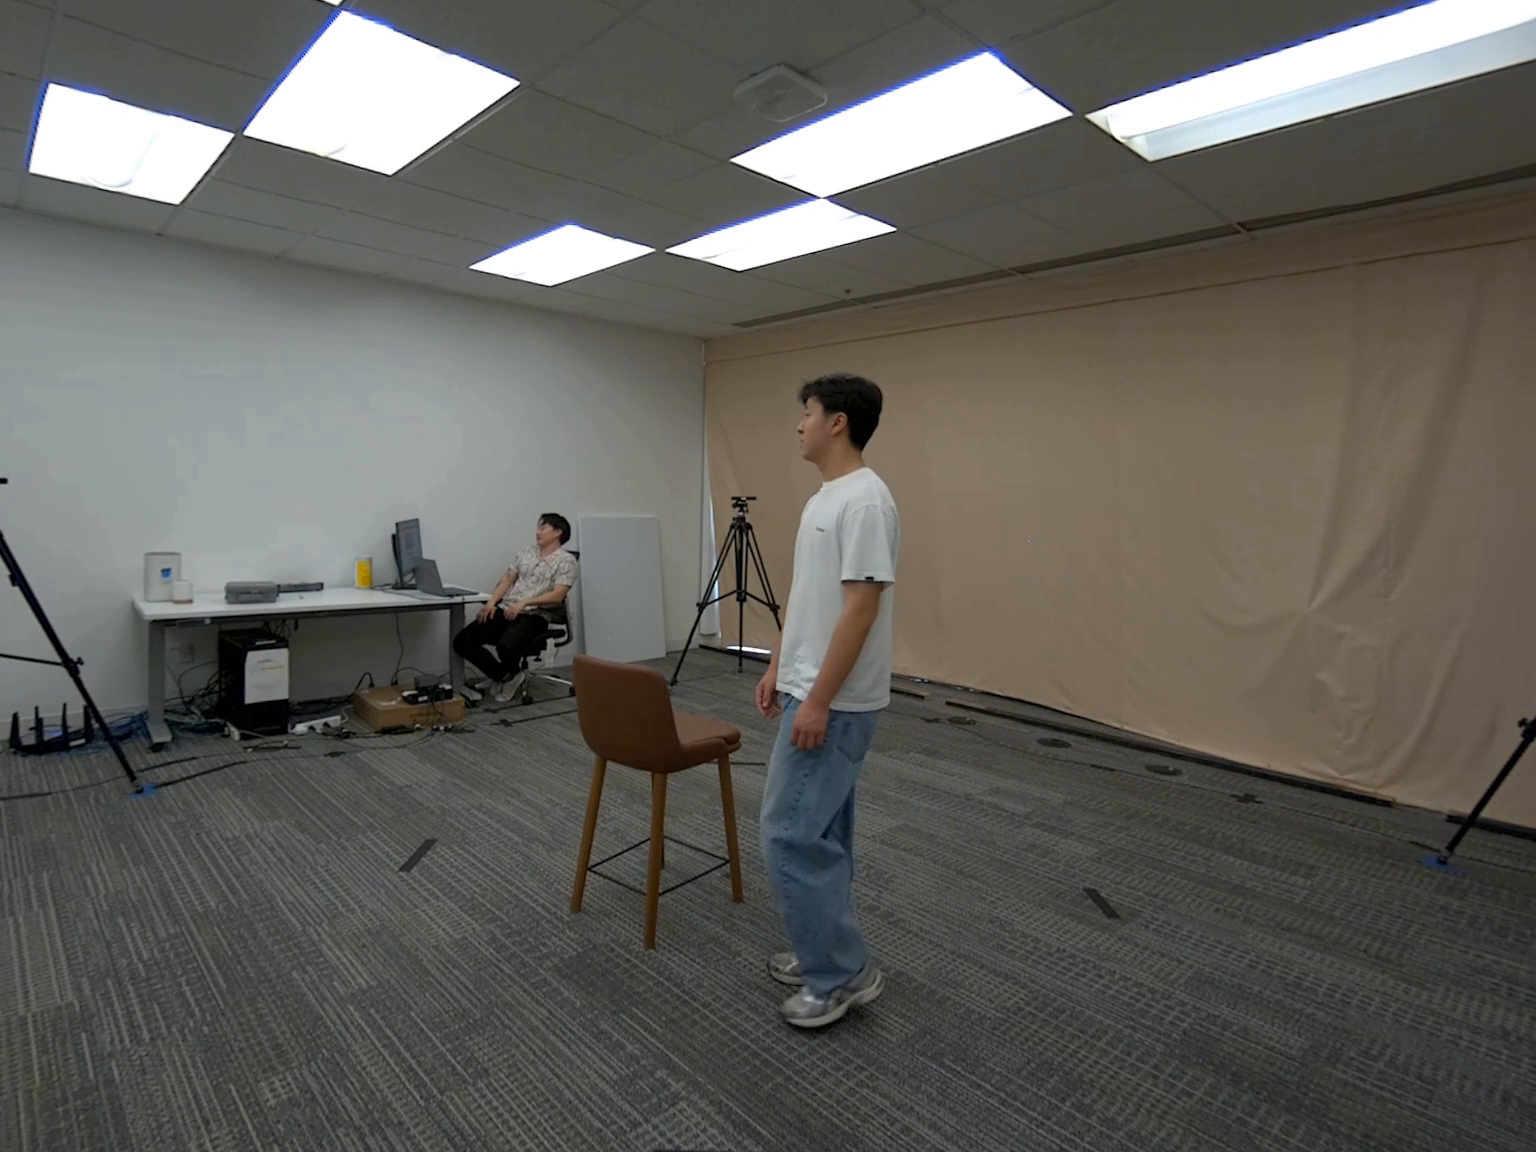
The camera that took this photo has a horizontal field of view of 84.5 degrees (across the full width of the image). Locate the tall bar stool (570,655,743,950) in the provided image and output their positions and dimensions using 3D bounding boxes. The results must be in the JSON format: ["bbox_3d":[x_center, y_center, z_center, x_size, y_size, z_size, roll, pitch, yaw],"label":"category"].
[{"bbox_3d":[-0.383,0.689,2.845,0.468,0.886,0.458,4,6,38],"label":"tall bar stool"}]
